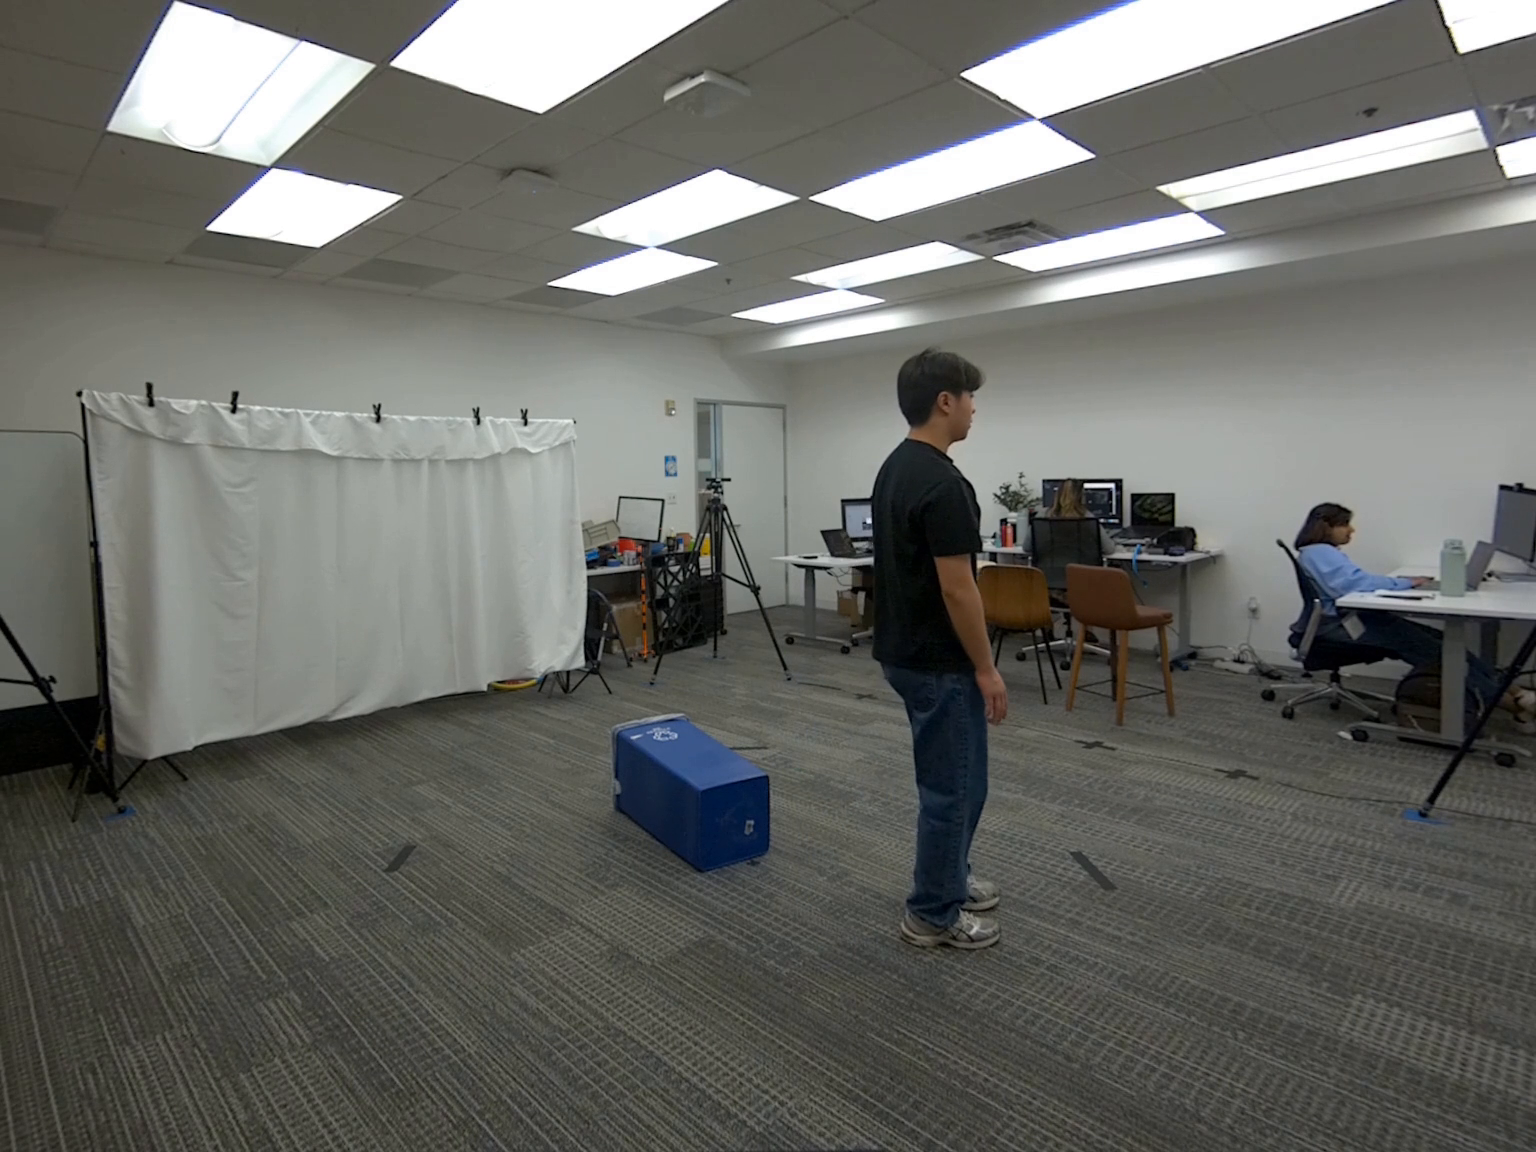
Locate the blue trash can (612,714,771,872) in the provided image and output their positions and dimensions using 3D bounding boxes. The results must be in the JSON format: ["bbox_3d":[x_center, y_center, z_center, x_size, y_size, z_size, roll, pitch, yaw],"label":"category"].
[{"bbox_3d":[-0.307,0.847,3.396,0.365,0.375,0.736,-4,9,-32],"label":"blue trash can"}]
